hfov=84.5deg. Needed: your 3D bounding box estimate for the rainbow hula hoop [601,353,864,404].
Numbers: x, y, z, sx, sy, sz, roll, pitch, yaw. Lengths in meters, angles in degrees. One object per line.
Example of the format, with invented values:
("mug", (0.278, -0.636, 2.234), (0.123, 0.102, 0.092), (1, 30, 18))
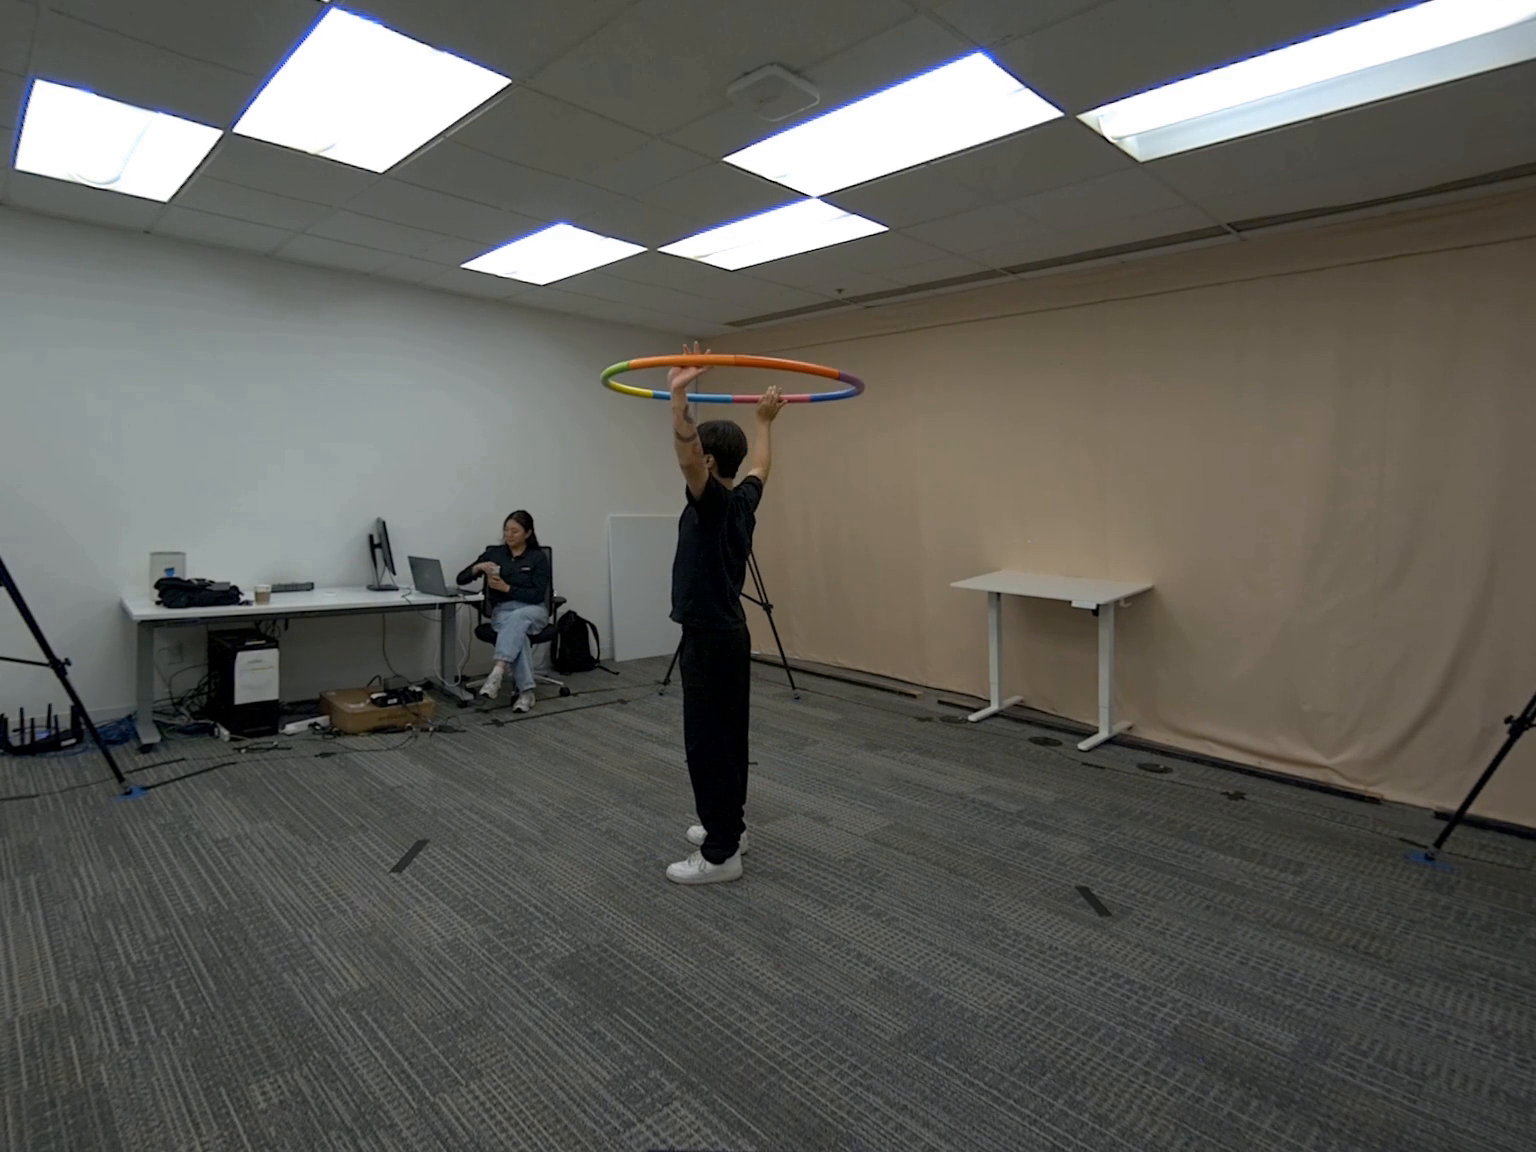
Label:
("rainbow hula hoop", (-0.135, -0.706, 3.128), (0.978, 0.035, 0.982), (2, 5, -1))
